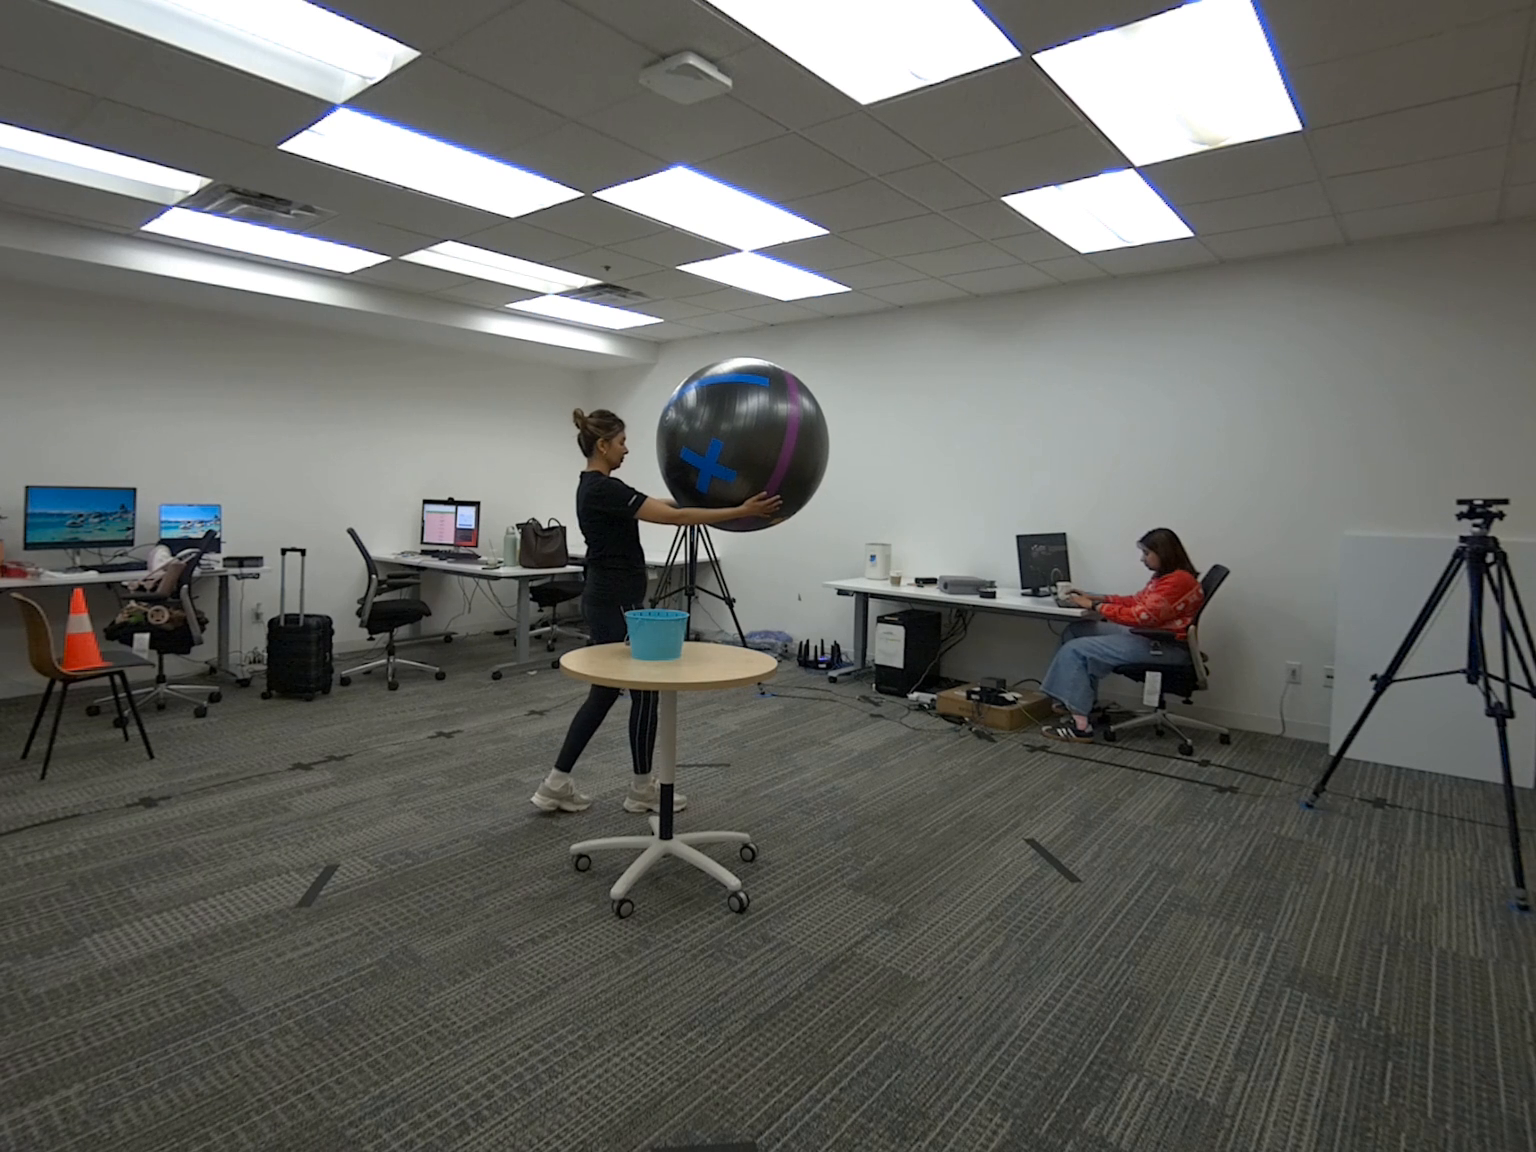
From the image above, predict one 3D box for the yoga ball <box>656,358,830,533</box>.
[{"bbox_3d":[-0.124,-0.570,3.729,0.757,0.756,0.761,1,4,-2],"label":"yoga ball"}]
